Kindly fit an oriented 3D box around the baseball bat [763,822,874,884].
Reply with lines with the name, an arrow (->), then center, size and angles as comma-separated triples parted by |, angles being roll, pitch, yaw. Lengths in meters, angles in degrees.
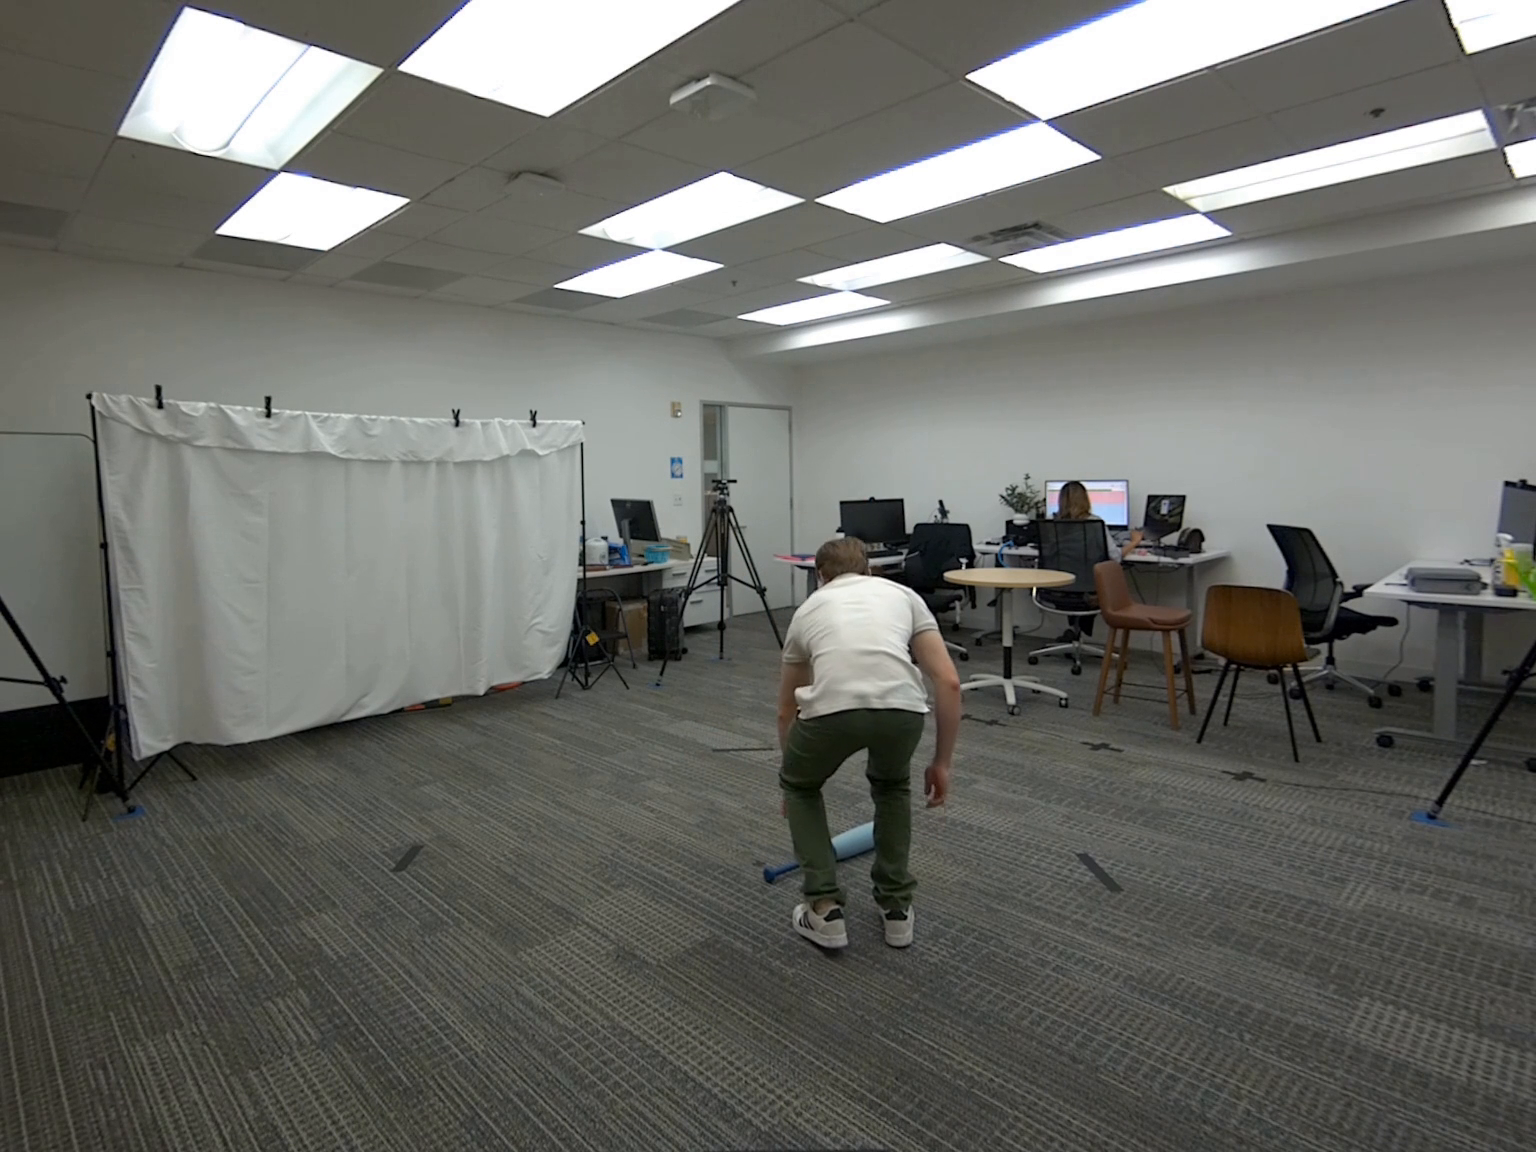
baseball bat -> 0.217, 1.010, 3.104 | 0.531, 0.088, 0.091 | -10, 9, -33
